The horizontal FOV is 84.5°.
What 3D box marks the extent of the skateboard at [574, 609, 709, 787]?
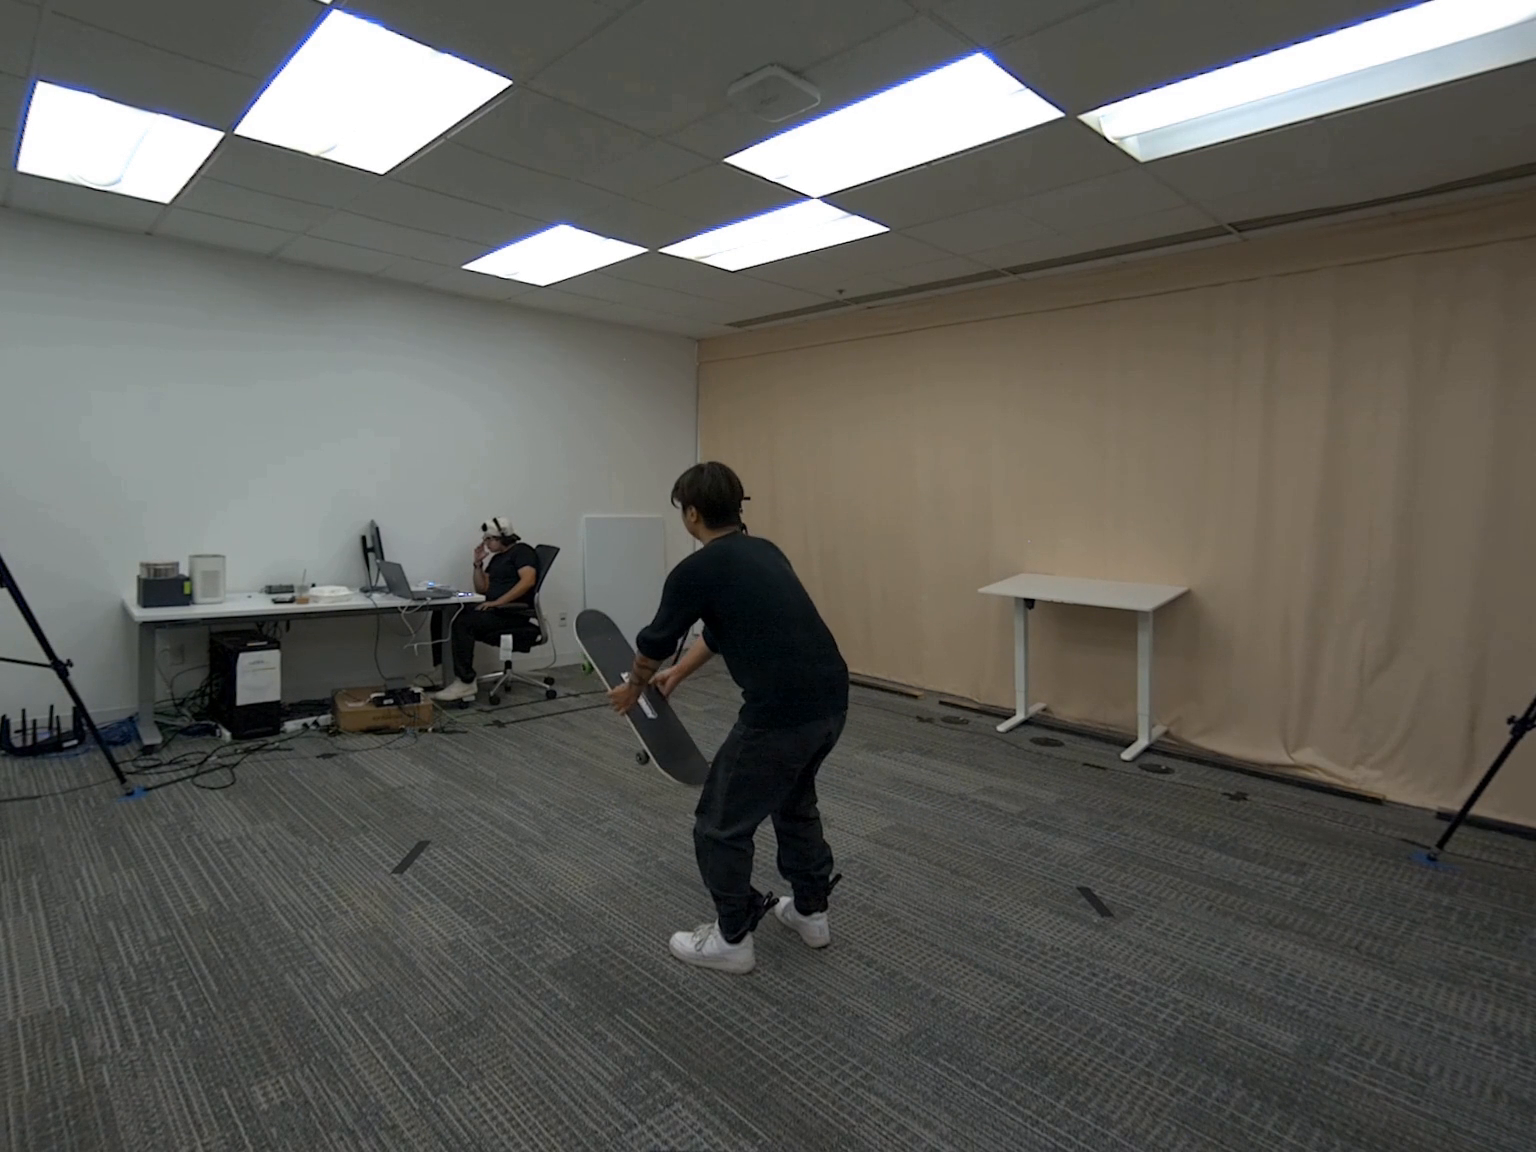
[{"bbox_3d":[-0.464,0.436,2.910,0.189,0.110,0.807,-4,46,-46],"label":"skateboard"}]
